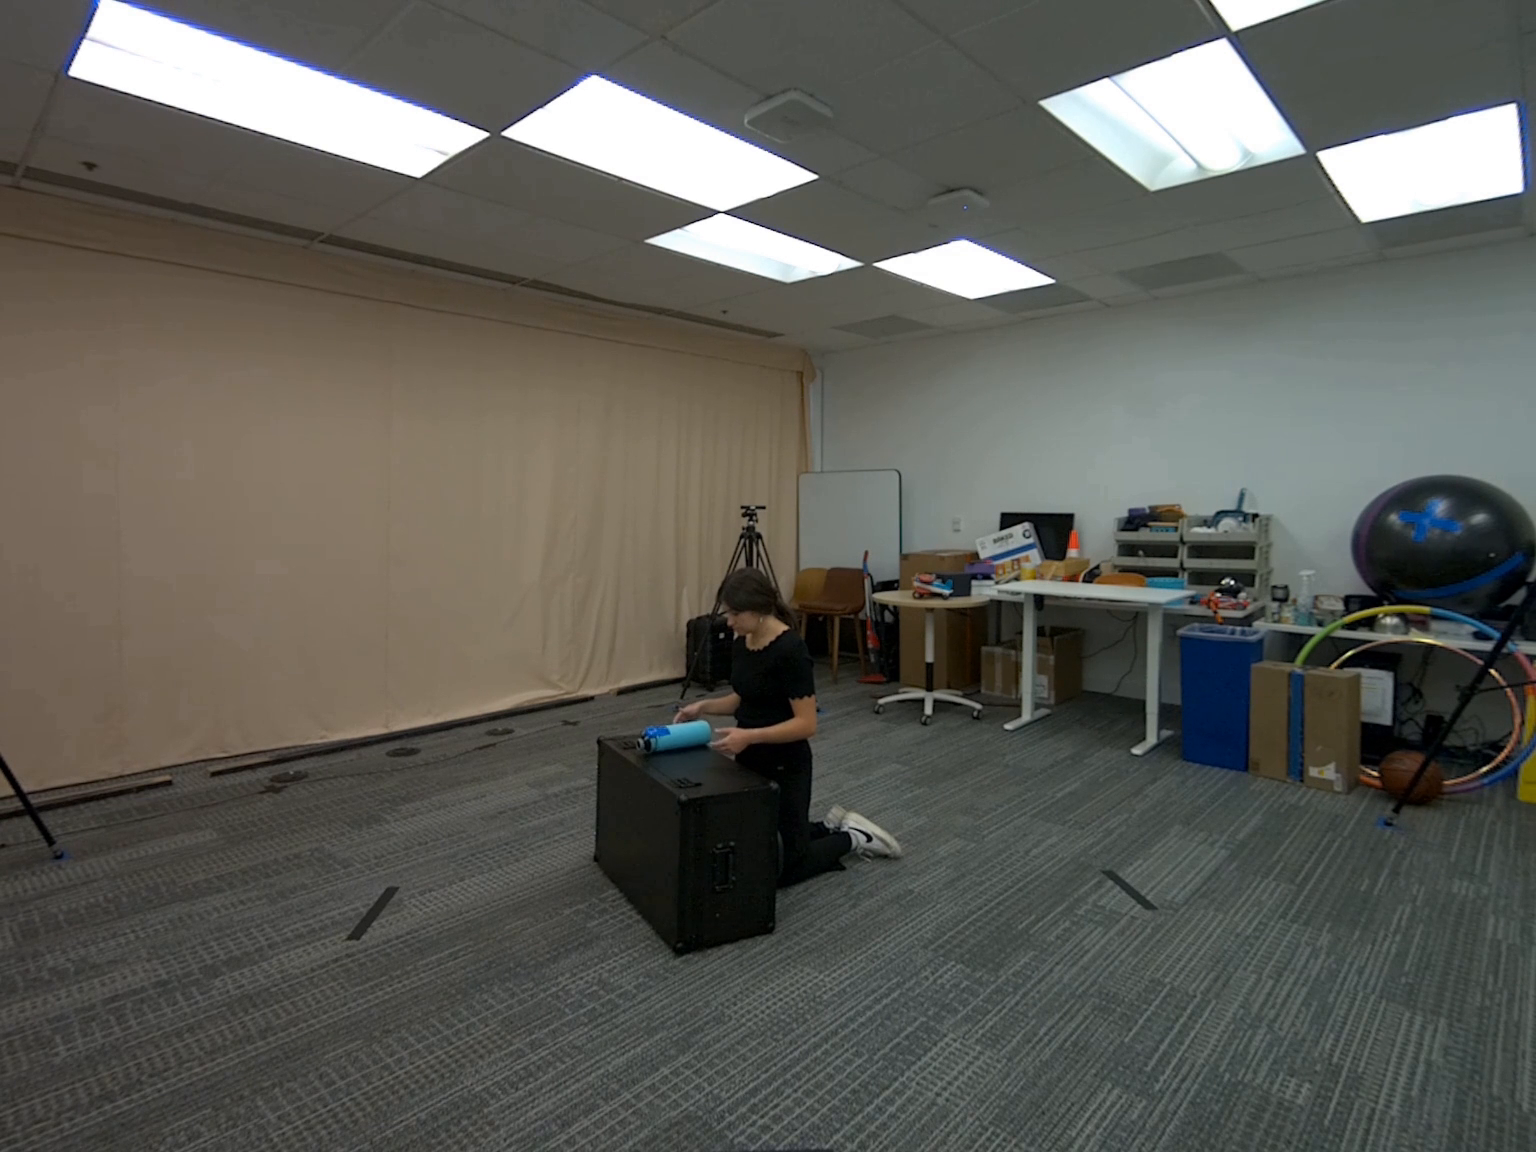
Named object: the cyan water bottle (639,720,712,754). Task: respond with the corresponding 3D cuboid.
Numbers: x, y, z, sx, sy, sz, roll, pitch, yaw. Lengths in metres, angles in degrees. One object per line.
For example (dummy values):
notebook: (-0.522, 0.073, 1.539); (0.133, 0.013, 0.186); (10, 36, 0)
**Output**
cyan water bottle: (-0.352, 0.606, 3.132); (0.276, 0.092, 0.095); (-2, 4, -29)
